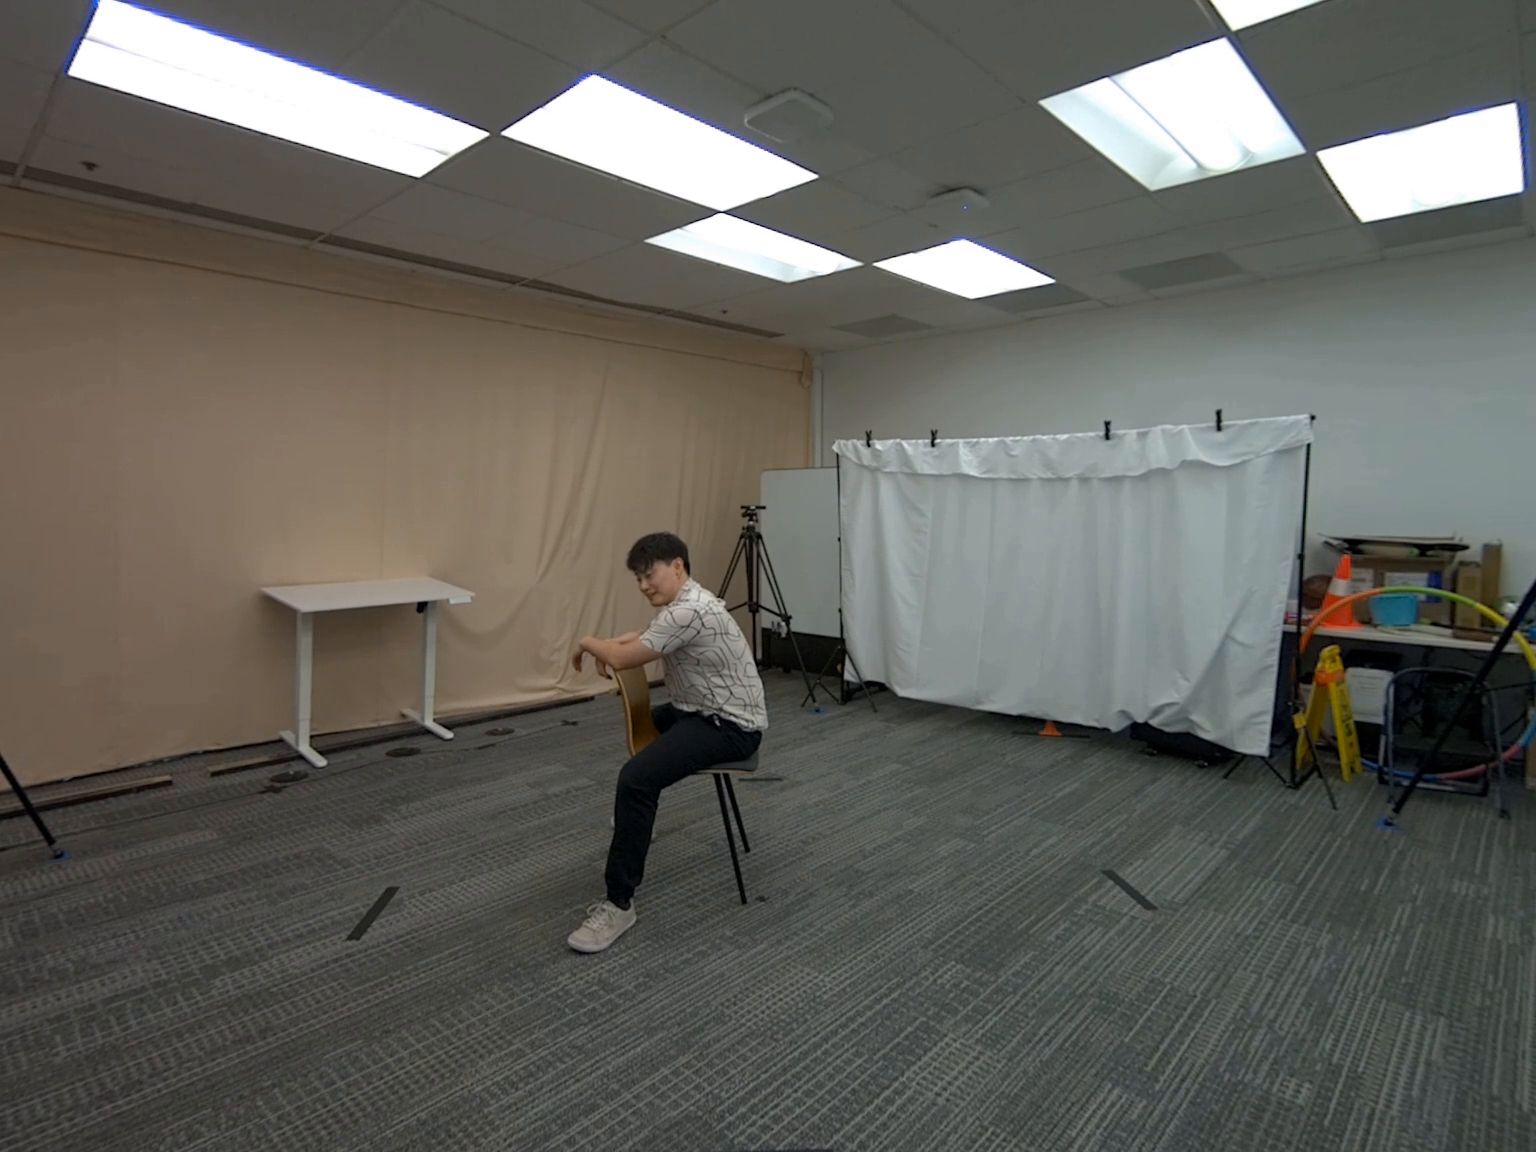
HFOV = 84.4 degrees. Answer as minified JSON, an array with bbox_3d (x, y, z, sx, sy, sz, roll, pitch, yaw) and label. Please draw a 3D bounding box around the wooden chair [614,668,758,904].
[{"bbox_3d":[-0.291,0.715,3.151,0.525,0.875,0.478,-5,3,2],"label":"wooden chair"}]
